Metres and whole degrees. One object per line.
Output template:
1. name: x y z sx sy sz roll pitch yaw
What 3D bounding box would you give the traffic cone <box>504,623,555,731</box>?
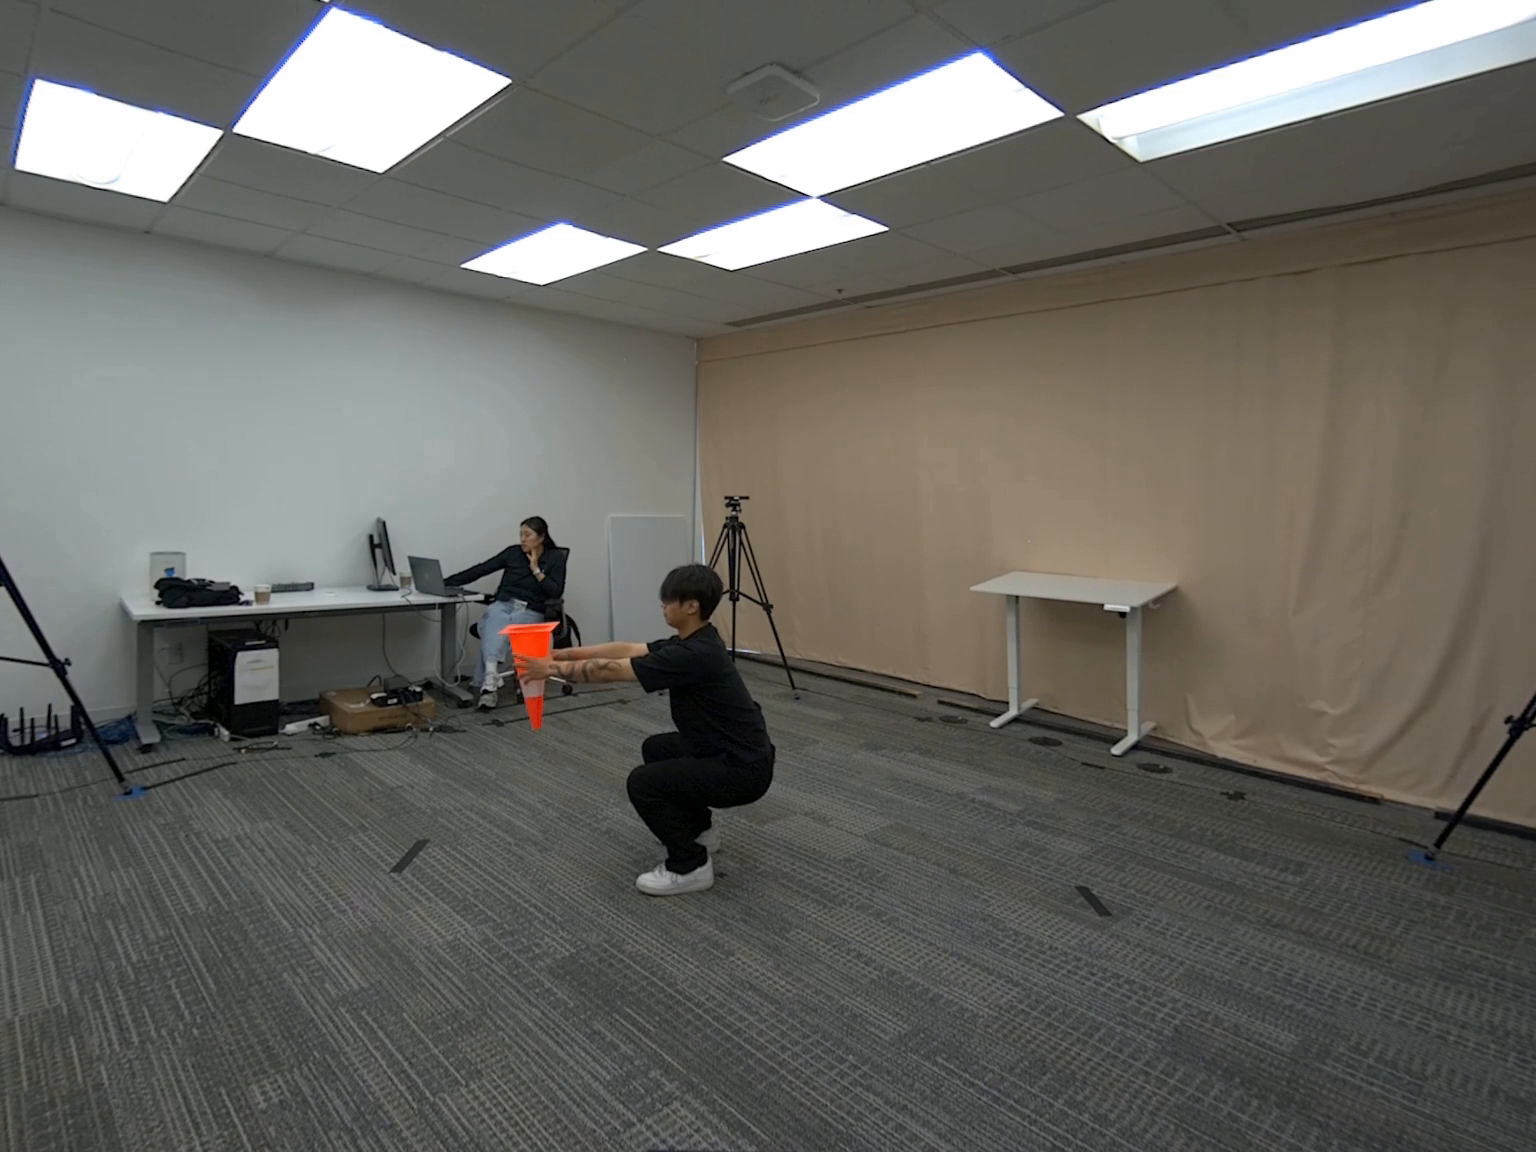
1. traffic cone: -0.896 0.379 3.163 0.202 0.382 0.206 -4 4 -6
